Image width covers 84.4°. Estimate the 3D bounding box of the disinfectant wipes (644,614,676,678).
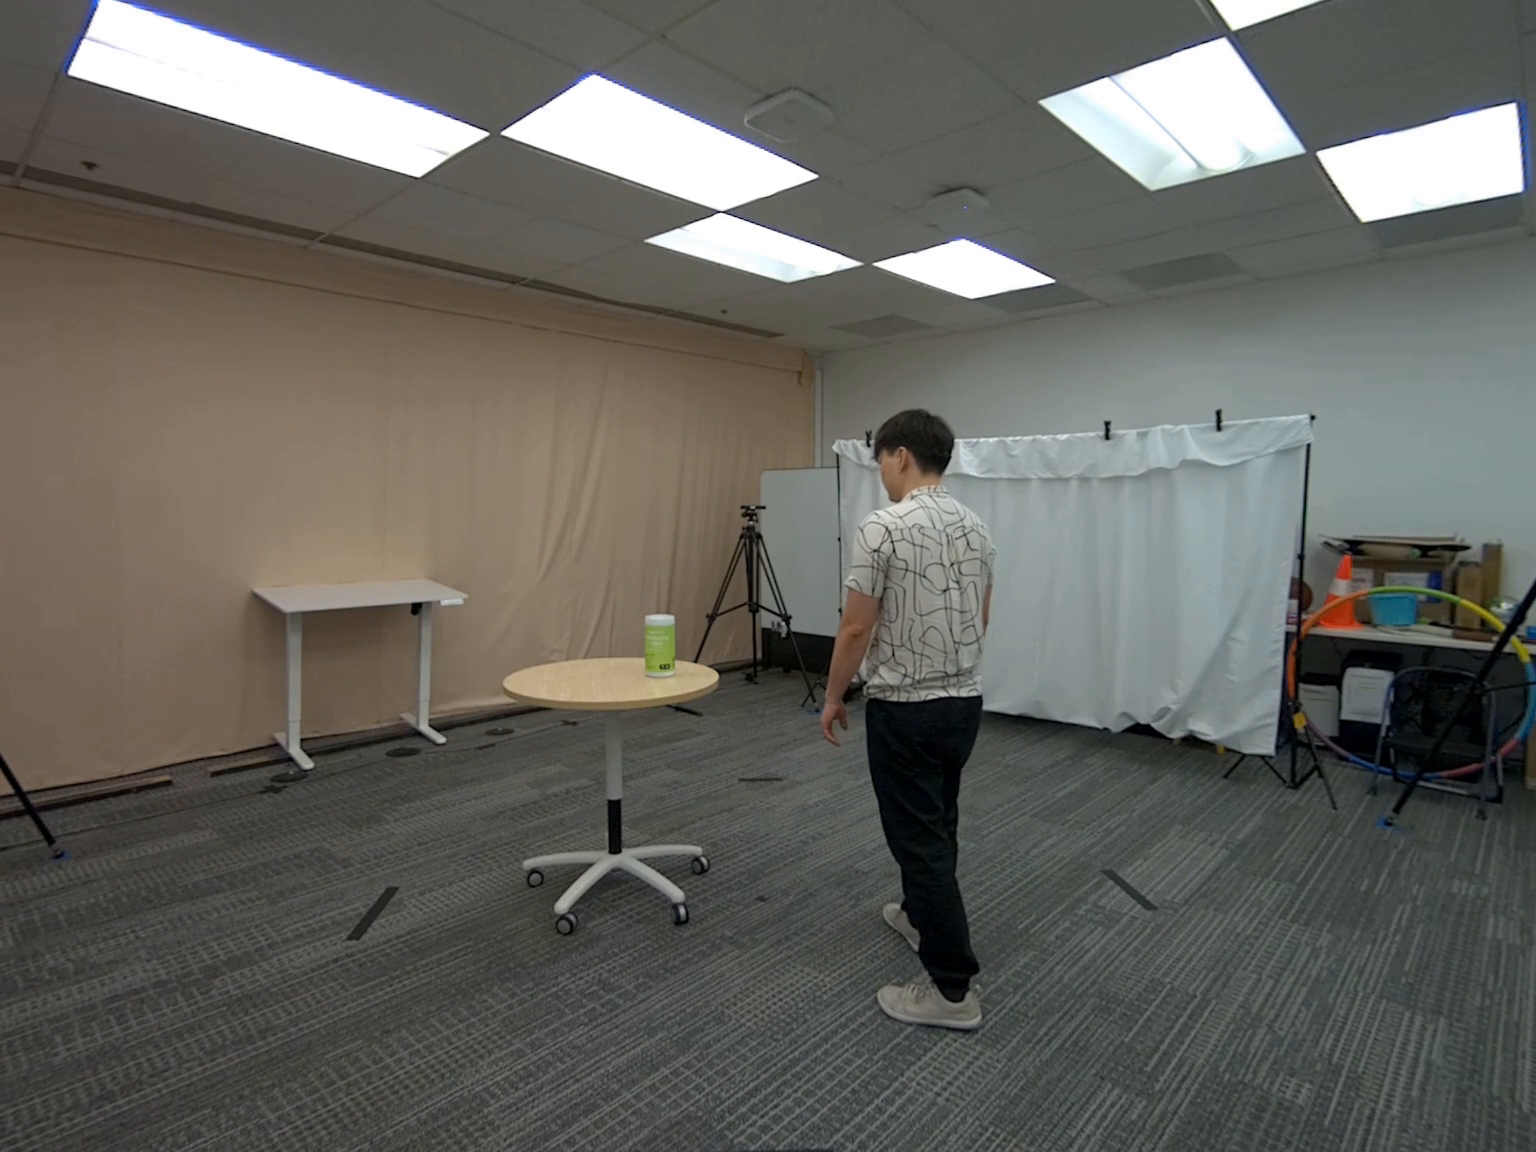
[{"bbox_3d":[-0.389,0.254,3.050,0.118,0.217,0.118,1,4,-2],"label":"disinfectant wipes"}]
